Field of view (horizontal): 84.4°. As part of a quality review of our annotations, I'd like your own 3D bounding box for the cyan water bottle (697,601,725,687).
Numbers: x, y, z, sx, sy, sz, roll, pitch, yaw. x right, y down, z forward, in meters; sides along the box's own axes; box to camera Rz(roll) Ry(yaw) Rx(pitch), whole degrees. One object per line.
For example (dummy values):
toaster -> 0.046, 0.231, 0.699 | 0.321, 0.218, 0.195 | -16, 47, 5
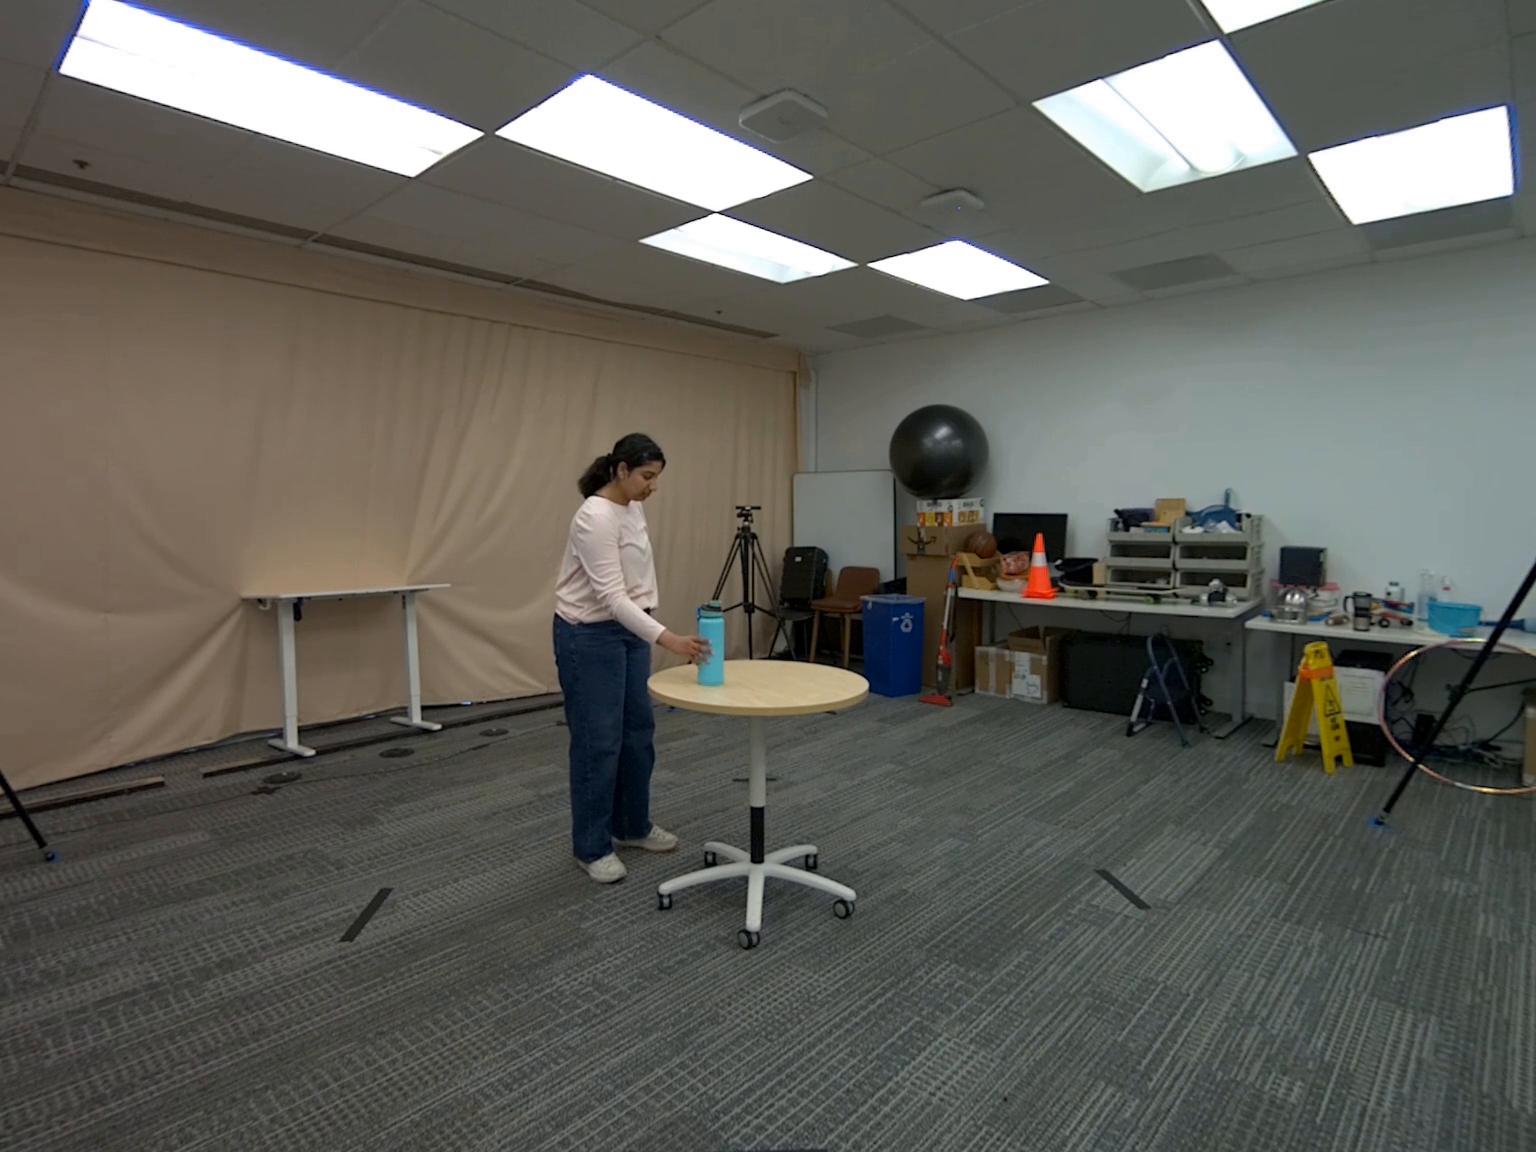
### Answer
cyan water bottle -> -0.196, 0.231, 2.876 | 0.092, 0.282, 0.093 | 0, 4, -2
